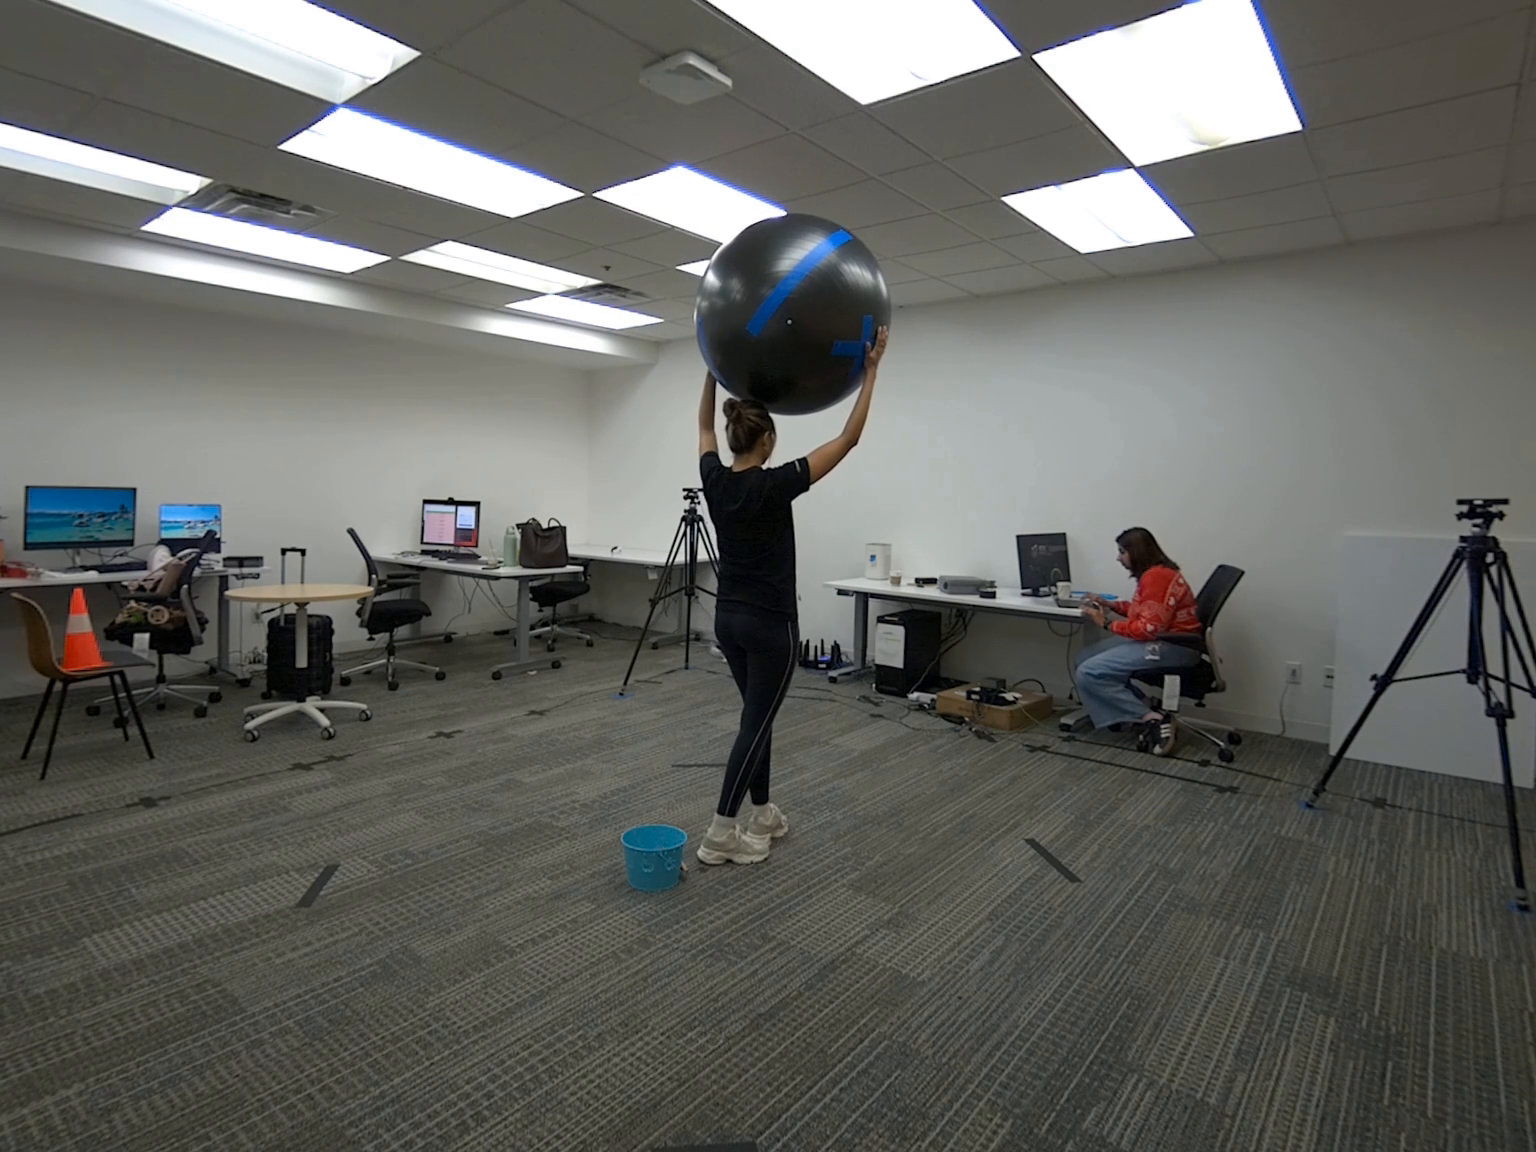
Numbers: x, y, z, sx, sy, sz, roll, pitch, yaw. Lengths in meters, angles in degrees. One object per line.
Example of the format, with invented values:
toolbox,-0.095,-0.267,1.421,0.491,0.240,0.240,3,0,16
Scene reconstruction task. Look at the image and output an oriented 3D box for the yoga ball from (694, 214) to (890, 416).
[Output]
yoga ball,0.085,-1.004,3.302,0.757,0.755,0.762,1,4,-2
